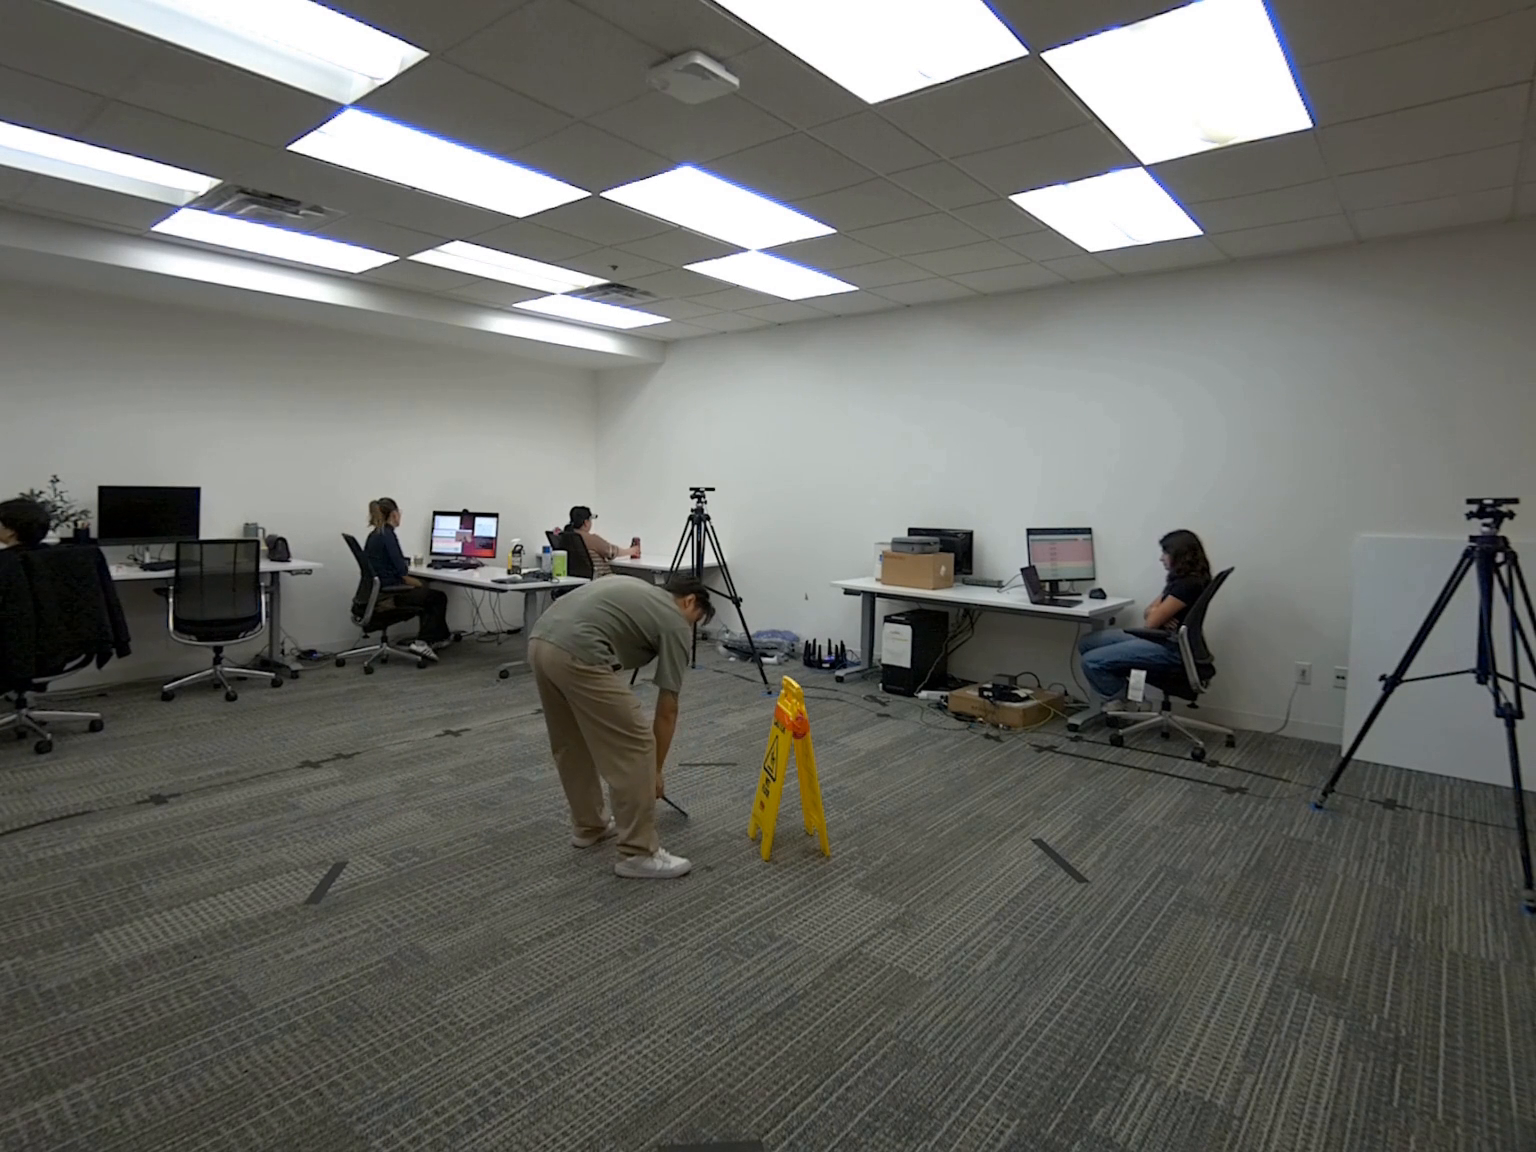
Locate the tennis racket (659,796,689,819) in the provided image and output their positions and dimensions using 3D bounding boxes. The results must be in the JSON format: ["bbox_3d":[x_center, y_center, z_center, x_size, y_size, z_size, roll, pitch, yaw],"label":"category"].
[{"bbox_3d":[-0.444,0.918,3.479,0.220,0.032,0.419,23,-13,21],"label":"tennis racket"}]
